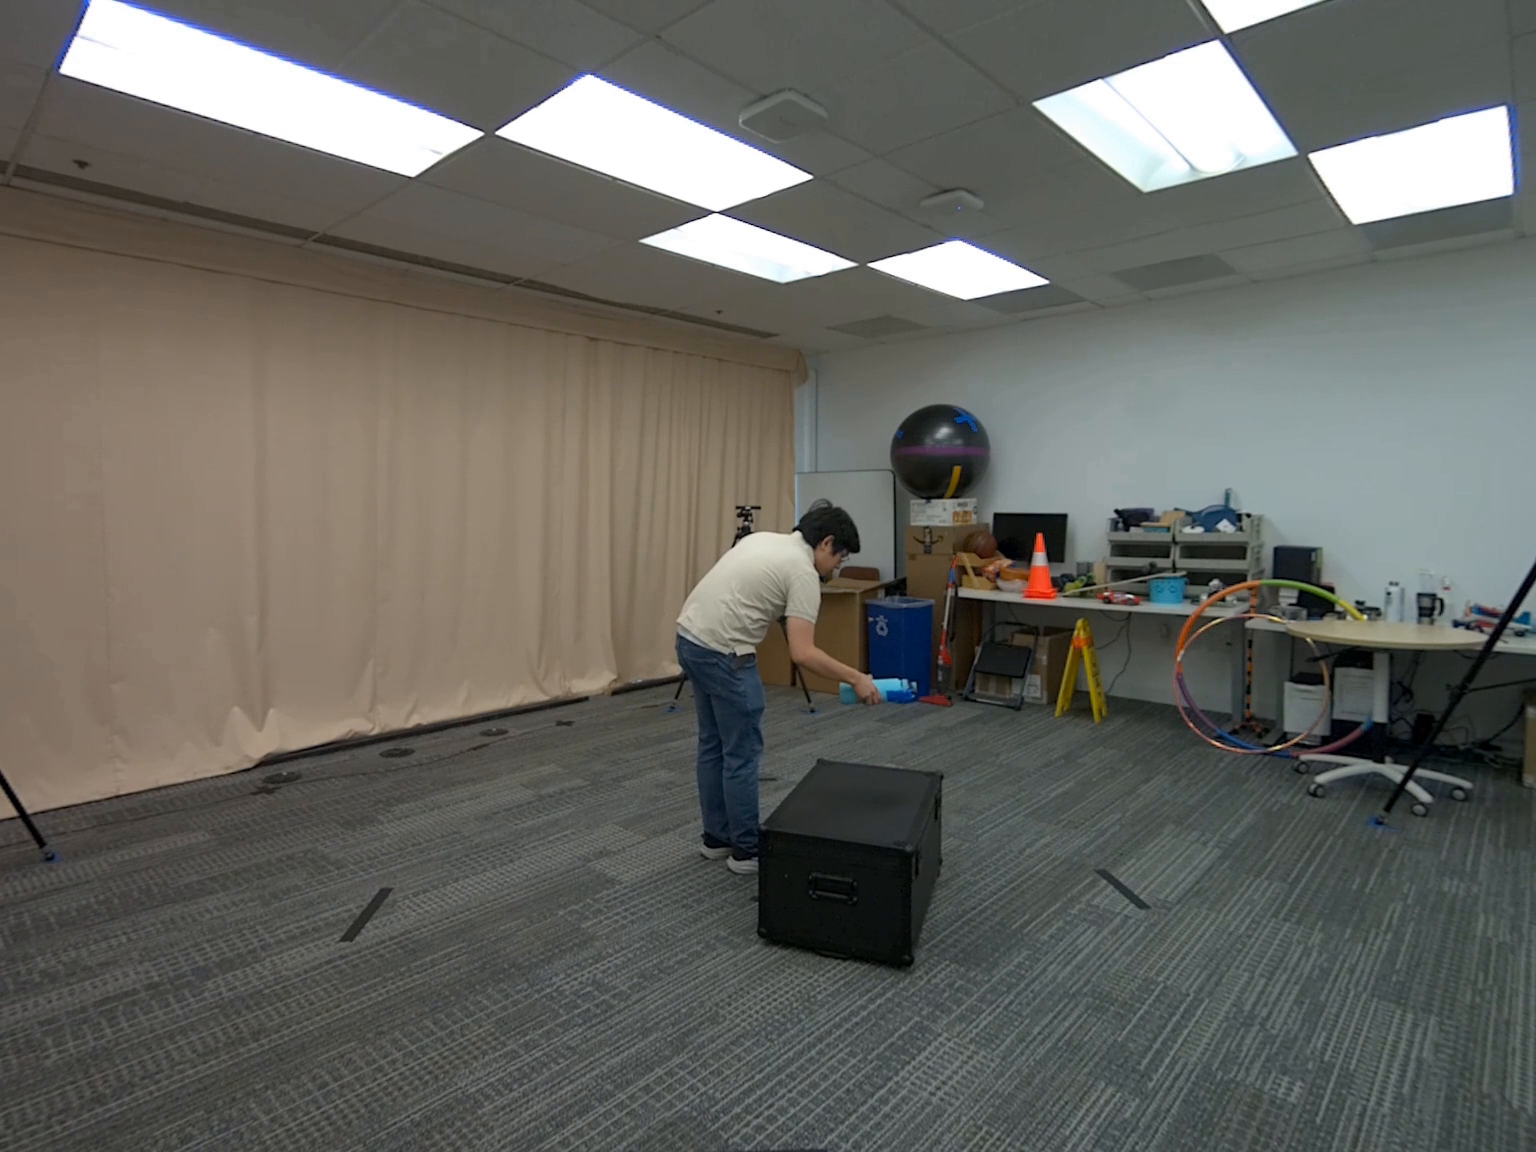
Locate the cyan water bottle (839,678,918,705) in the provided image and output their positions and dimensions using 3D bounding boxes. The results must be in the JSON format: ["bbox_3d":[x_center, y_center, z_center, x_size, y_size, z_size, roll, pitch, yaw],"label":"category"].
[{"bbox_3d":[0.429,0.441,3.190,0.287,0.092,0.091,-5,3,13],"label":"cyan water bottle"}]
